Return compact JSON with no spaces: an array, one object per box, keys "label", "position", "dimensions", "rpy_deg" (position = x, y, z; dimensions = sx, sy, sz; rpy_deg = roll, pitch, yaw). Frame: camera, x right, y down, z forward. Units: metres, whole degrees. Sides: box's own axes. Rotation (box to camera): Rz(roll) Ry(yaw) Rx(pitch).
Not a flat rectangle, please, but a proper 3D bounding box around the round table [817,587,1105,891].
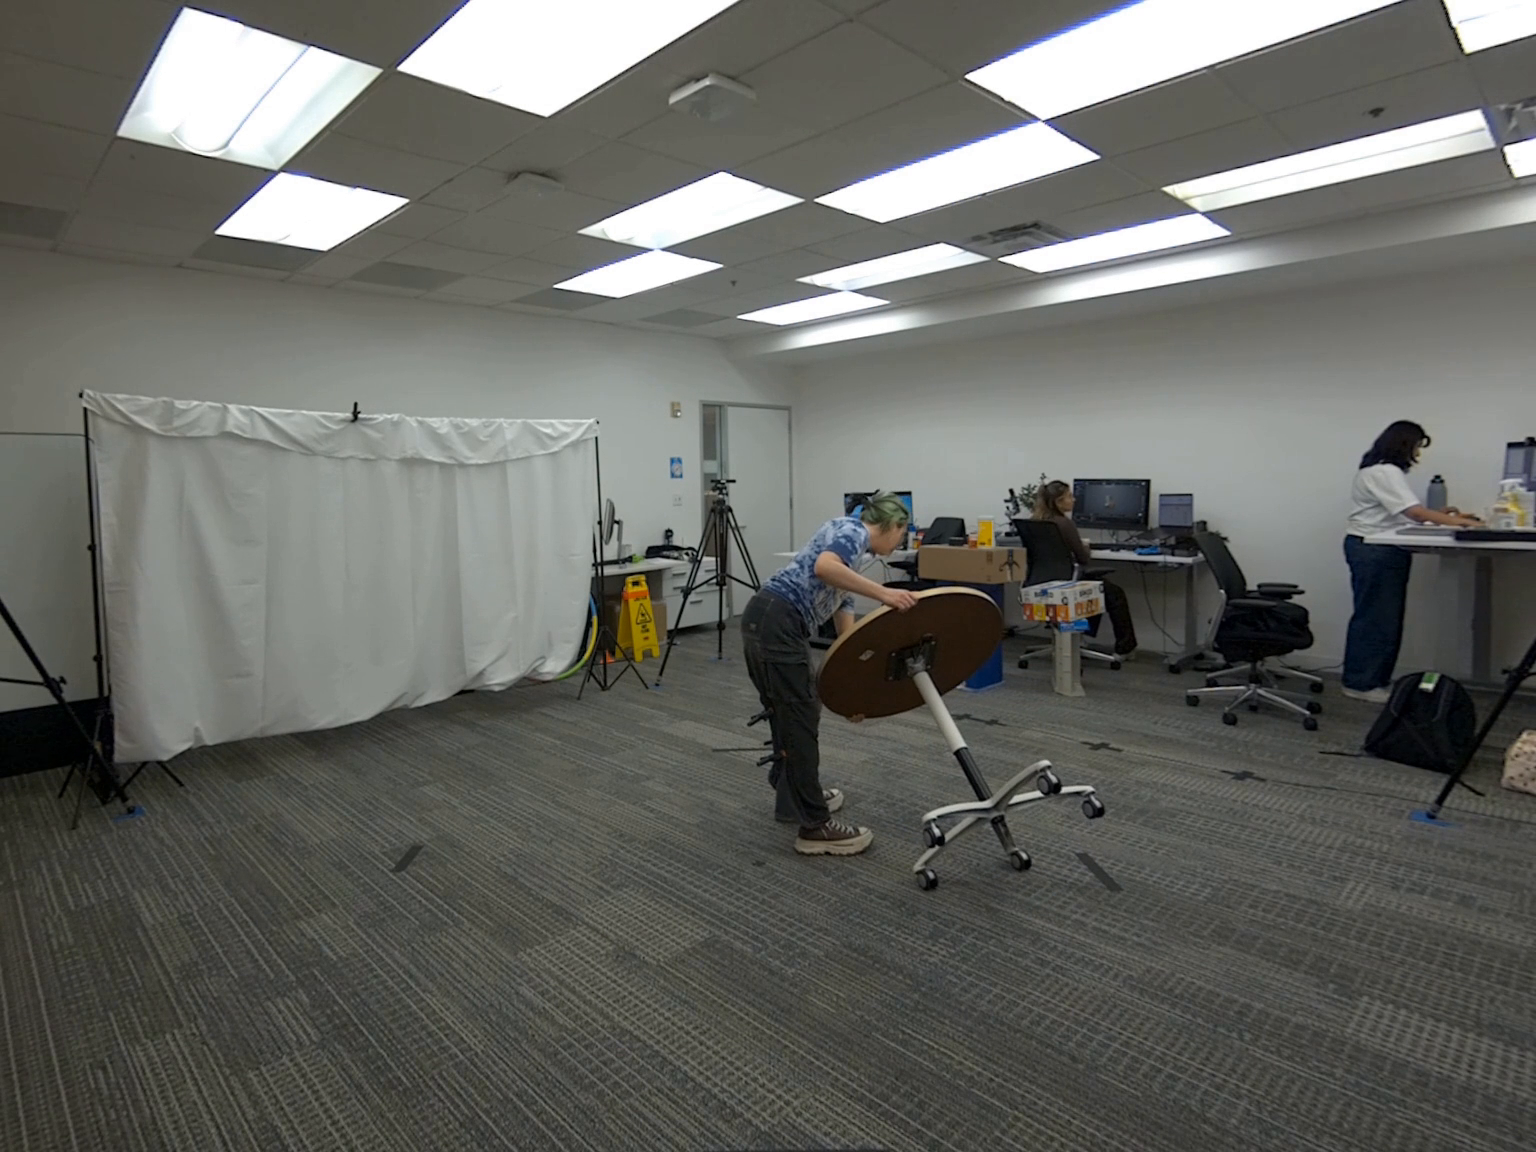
[{"label":"round table","position":[0.669,0.588,3.044],"dimensions":[0.750,0.751,0.823],"rpy_deg":[-3,46,-22]}]
